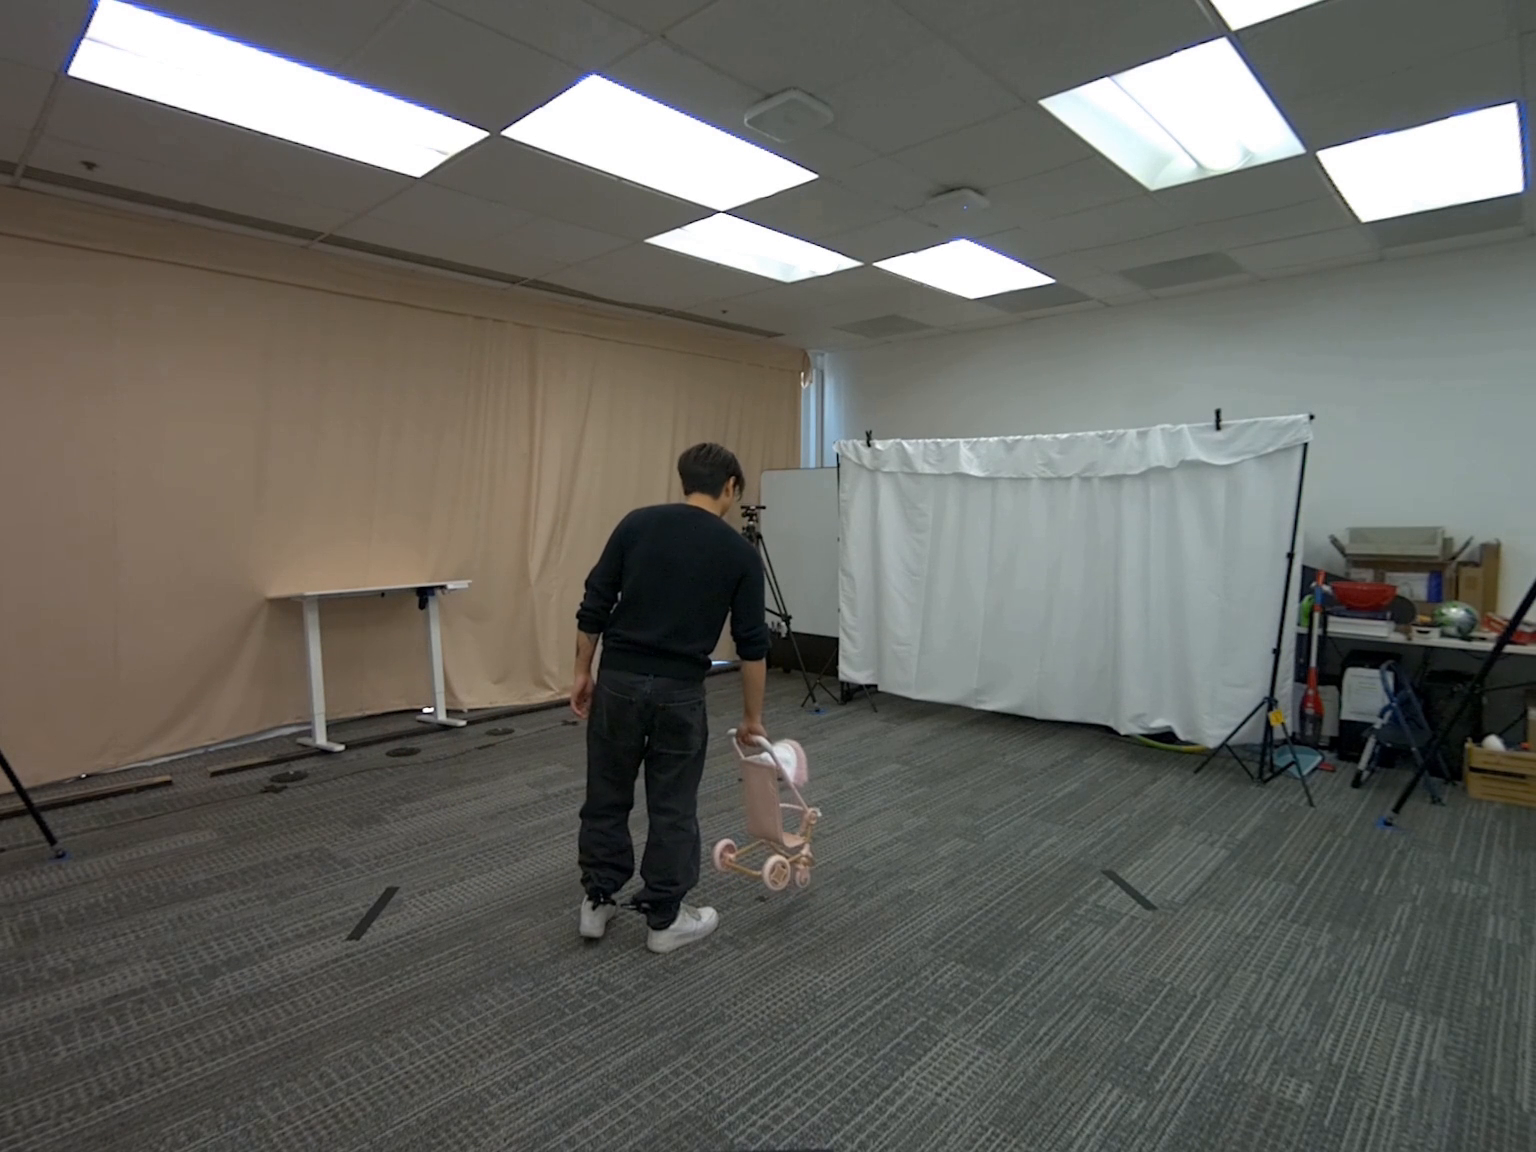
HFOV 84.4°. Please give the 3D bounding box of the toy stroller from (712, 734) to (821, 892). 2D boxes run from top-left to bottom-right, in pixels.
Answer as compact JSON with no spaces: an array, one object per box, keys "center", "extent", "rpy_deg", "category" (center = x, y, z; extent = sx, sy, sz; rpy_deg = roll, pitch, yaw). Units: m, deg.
[{"center":[0.028,0.796,2.827],"extent":[0.330,0.537,0.289],"rpy_deg":[7,-8,-37],"category":"toy stroller"}]
